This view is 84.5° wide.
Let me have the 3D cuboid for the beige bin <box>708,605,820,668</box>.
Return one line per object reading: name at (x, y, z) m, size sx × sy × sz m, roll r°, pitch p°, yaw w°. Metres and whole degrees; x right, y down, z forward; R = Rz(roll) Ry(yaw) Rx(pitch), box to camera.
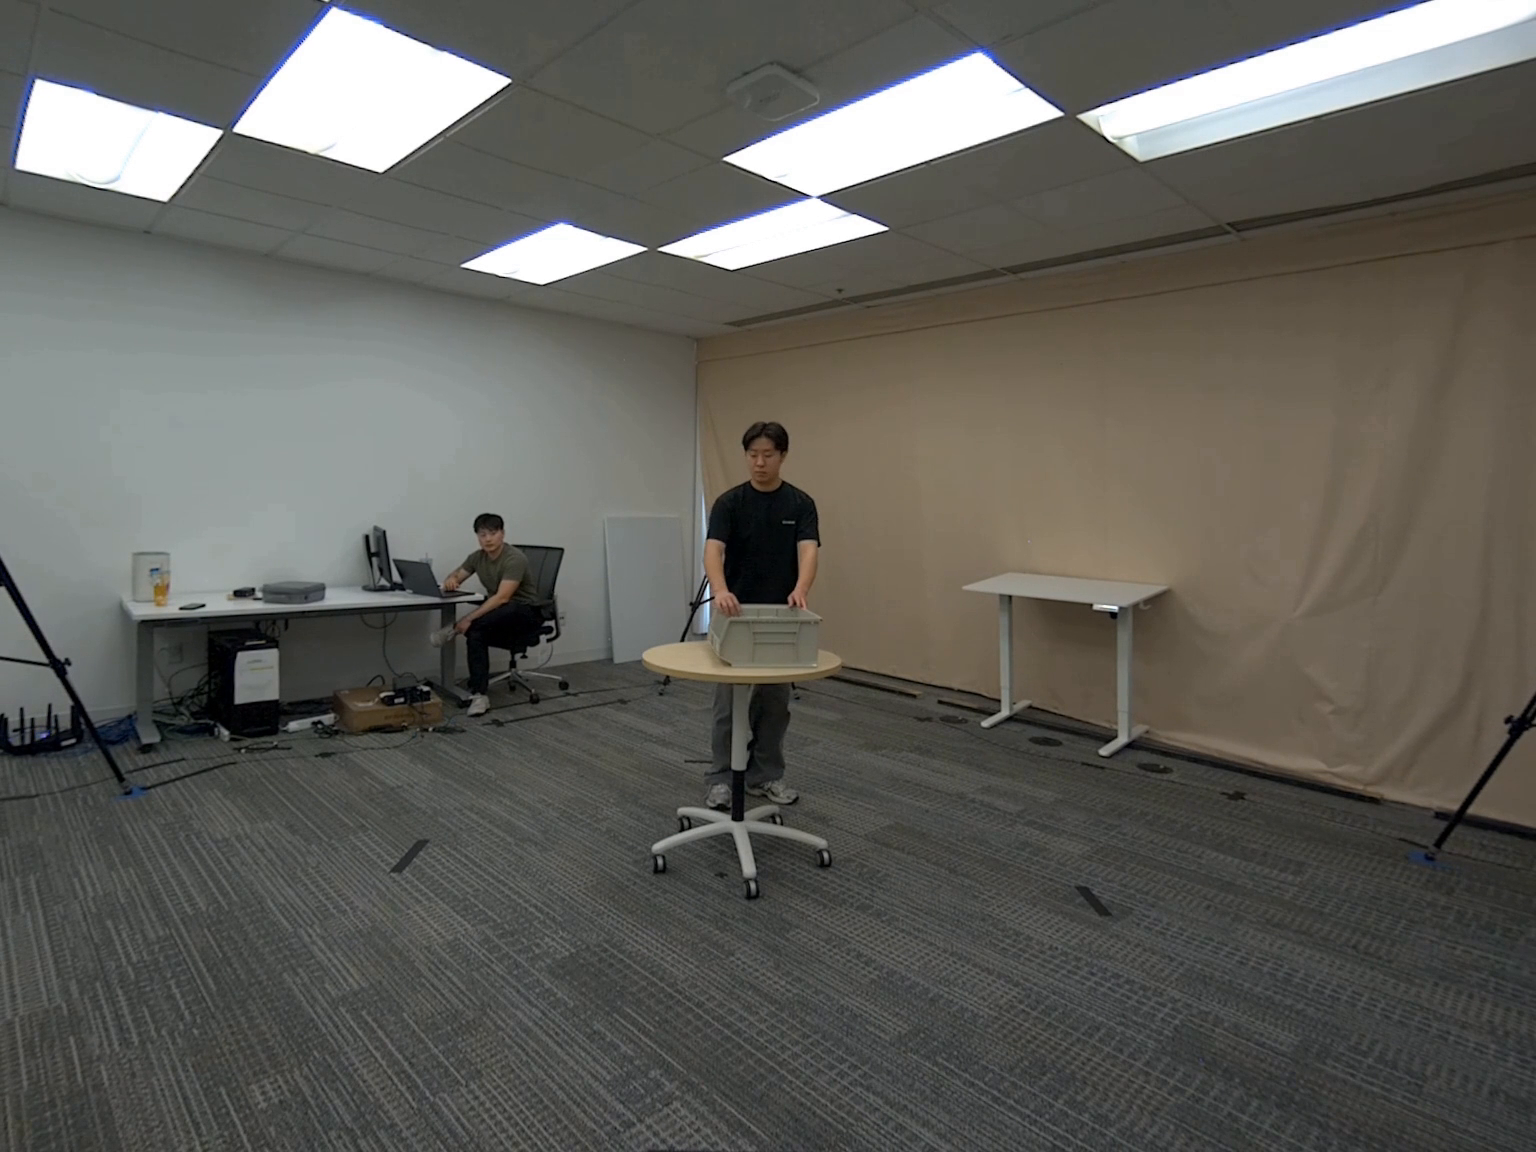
beige bin at (-0.039, 0.224, 3.223) m, size 0.375 × 0.188 × 0.426 m, roll 2°, pitch 3°, yaw -9°
